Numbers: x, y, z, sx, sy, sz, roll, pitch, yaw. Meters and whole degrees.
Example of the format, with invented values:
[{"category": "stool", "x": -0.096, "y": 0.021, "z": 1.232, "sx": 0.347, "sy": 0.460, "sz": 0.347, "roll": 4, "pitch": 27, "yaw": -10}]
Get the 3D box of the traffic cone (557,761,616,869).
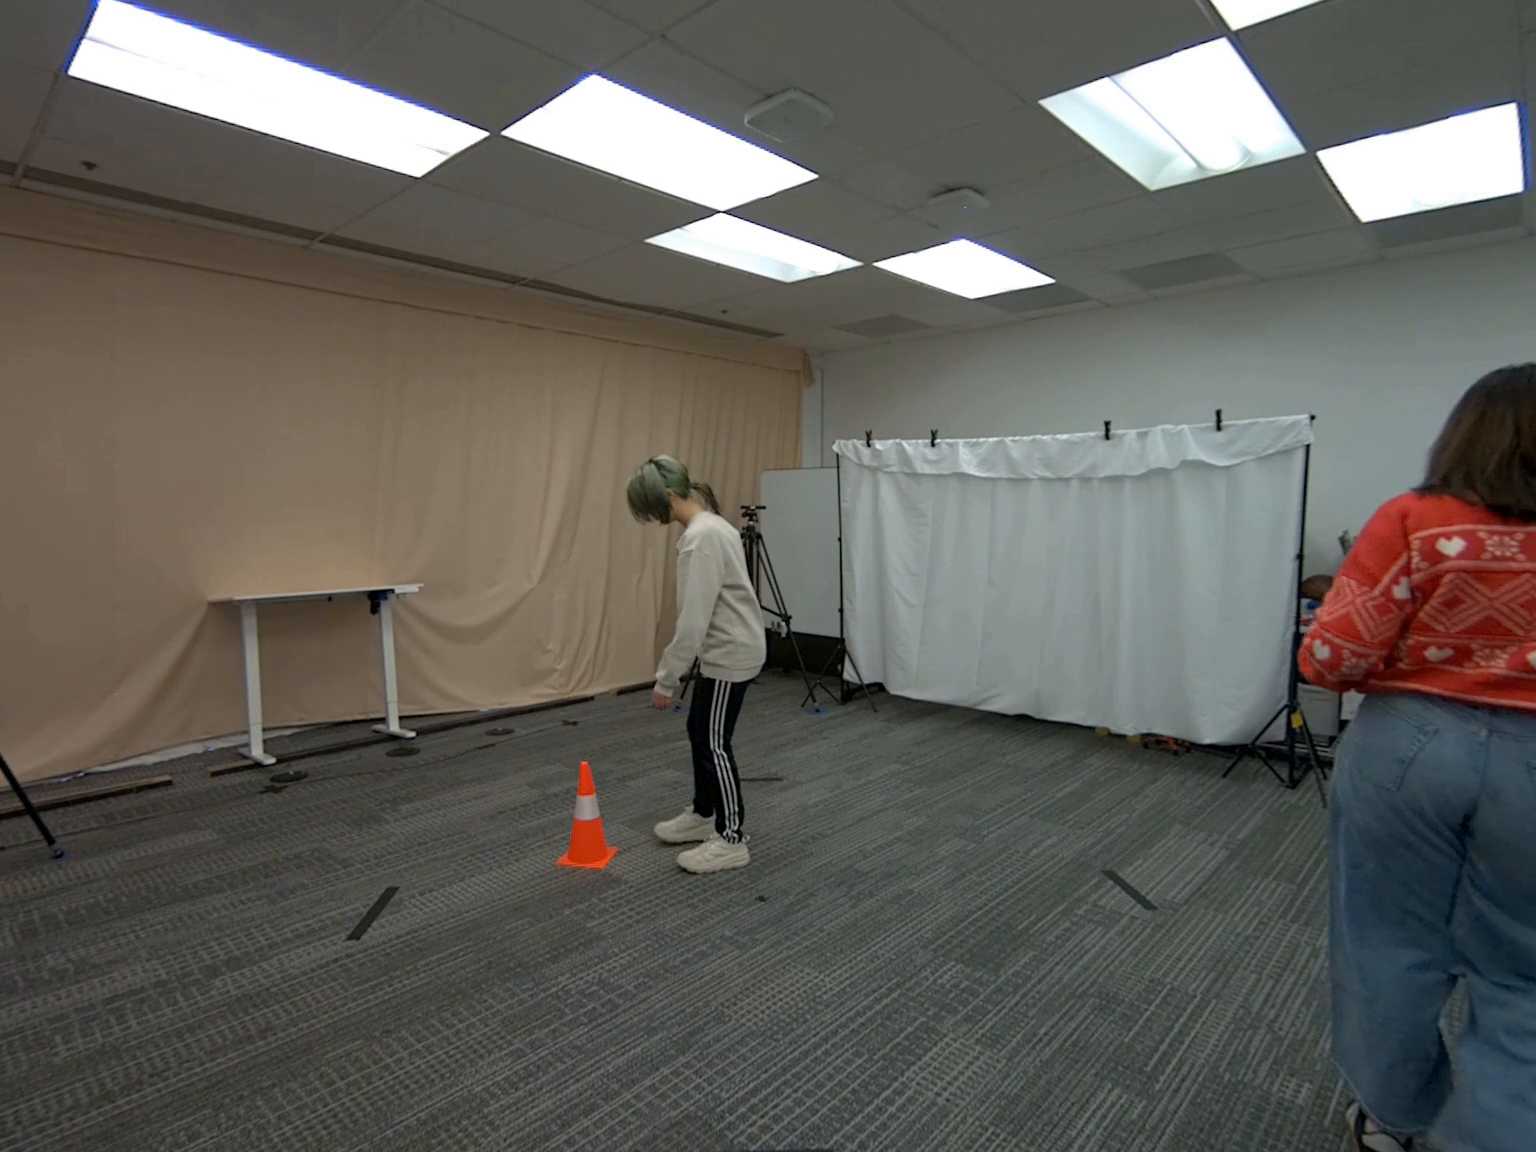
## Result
[{"category": "traffic cone", "x": -0.730, "y": 0.936, "z": 3.352, "sx": 0.208, "sy": 0.383, "sz": 0.201, "roll": 0, "pitch": 3, "yaw": 13}]
